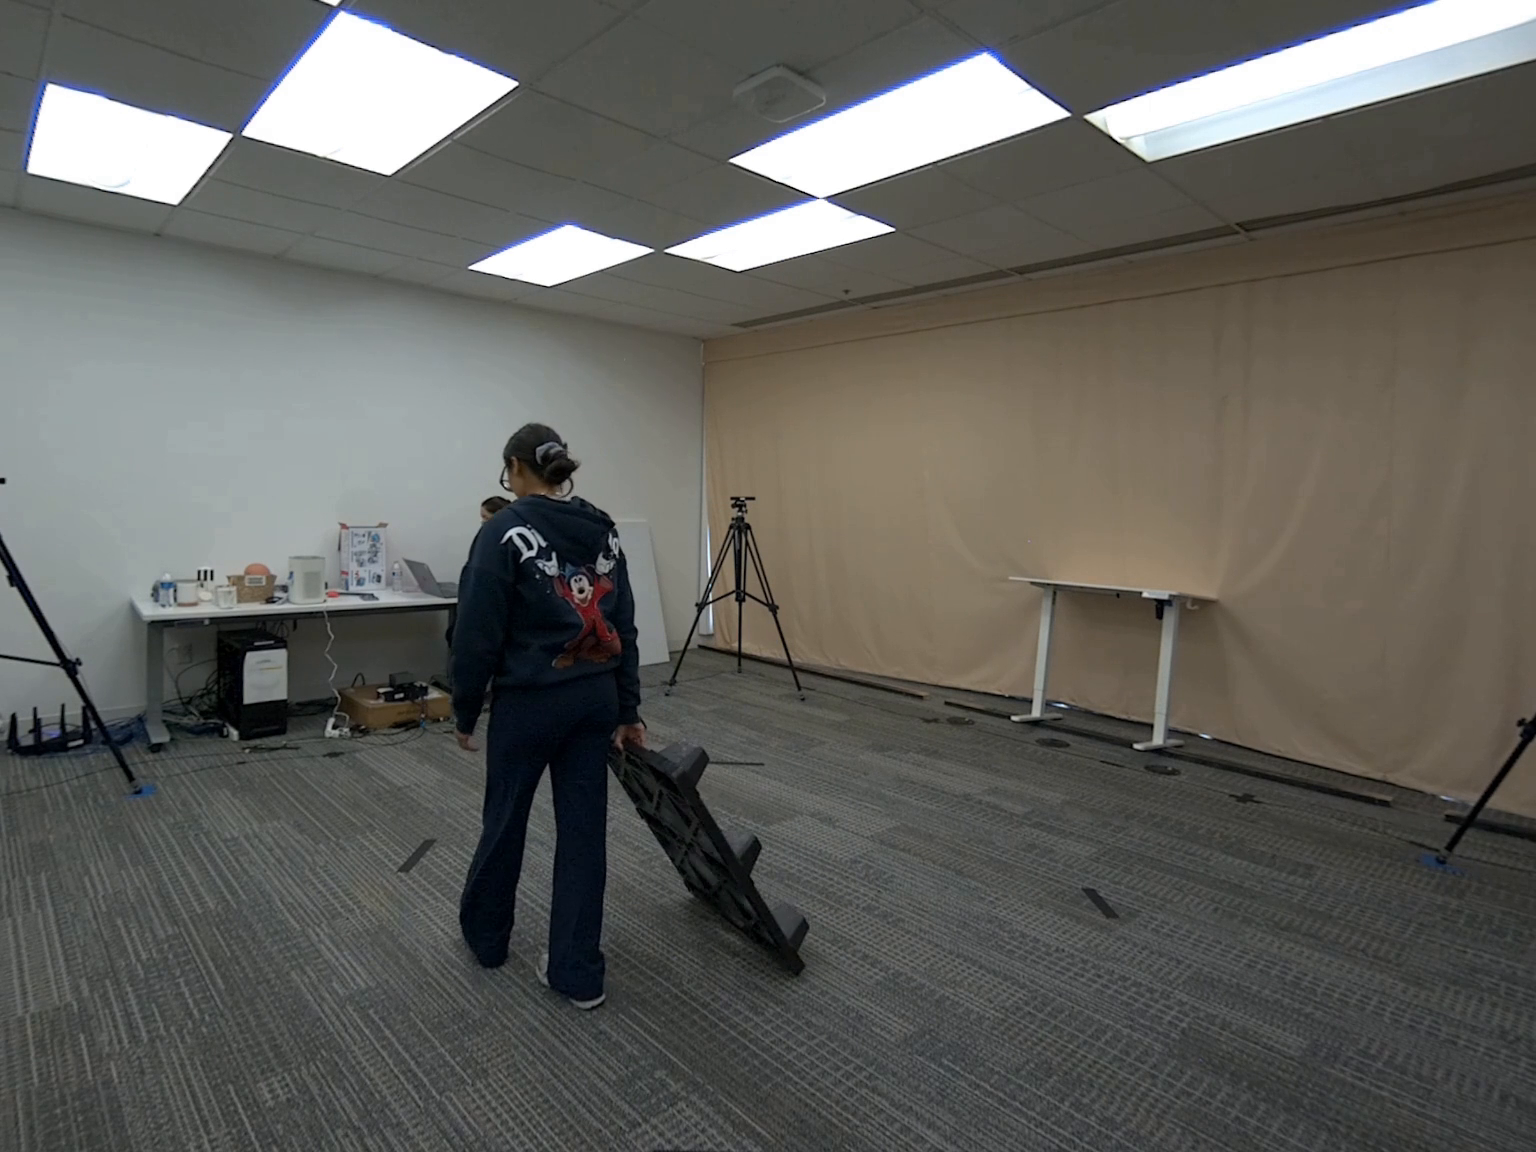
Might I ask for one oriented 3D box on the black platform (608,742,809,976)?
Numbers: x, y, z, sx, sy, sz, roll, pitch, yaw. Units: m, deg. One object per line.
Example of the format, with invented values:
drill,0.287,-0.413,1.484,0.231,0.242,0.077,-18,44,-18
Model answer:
black platform,-0.217,0.786,2.589,0.143,0.790,0.620,-37,24,-26
